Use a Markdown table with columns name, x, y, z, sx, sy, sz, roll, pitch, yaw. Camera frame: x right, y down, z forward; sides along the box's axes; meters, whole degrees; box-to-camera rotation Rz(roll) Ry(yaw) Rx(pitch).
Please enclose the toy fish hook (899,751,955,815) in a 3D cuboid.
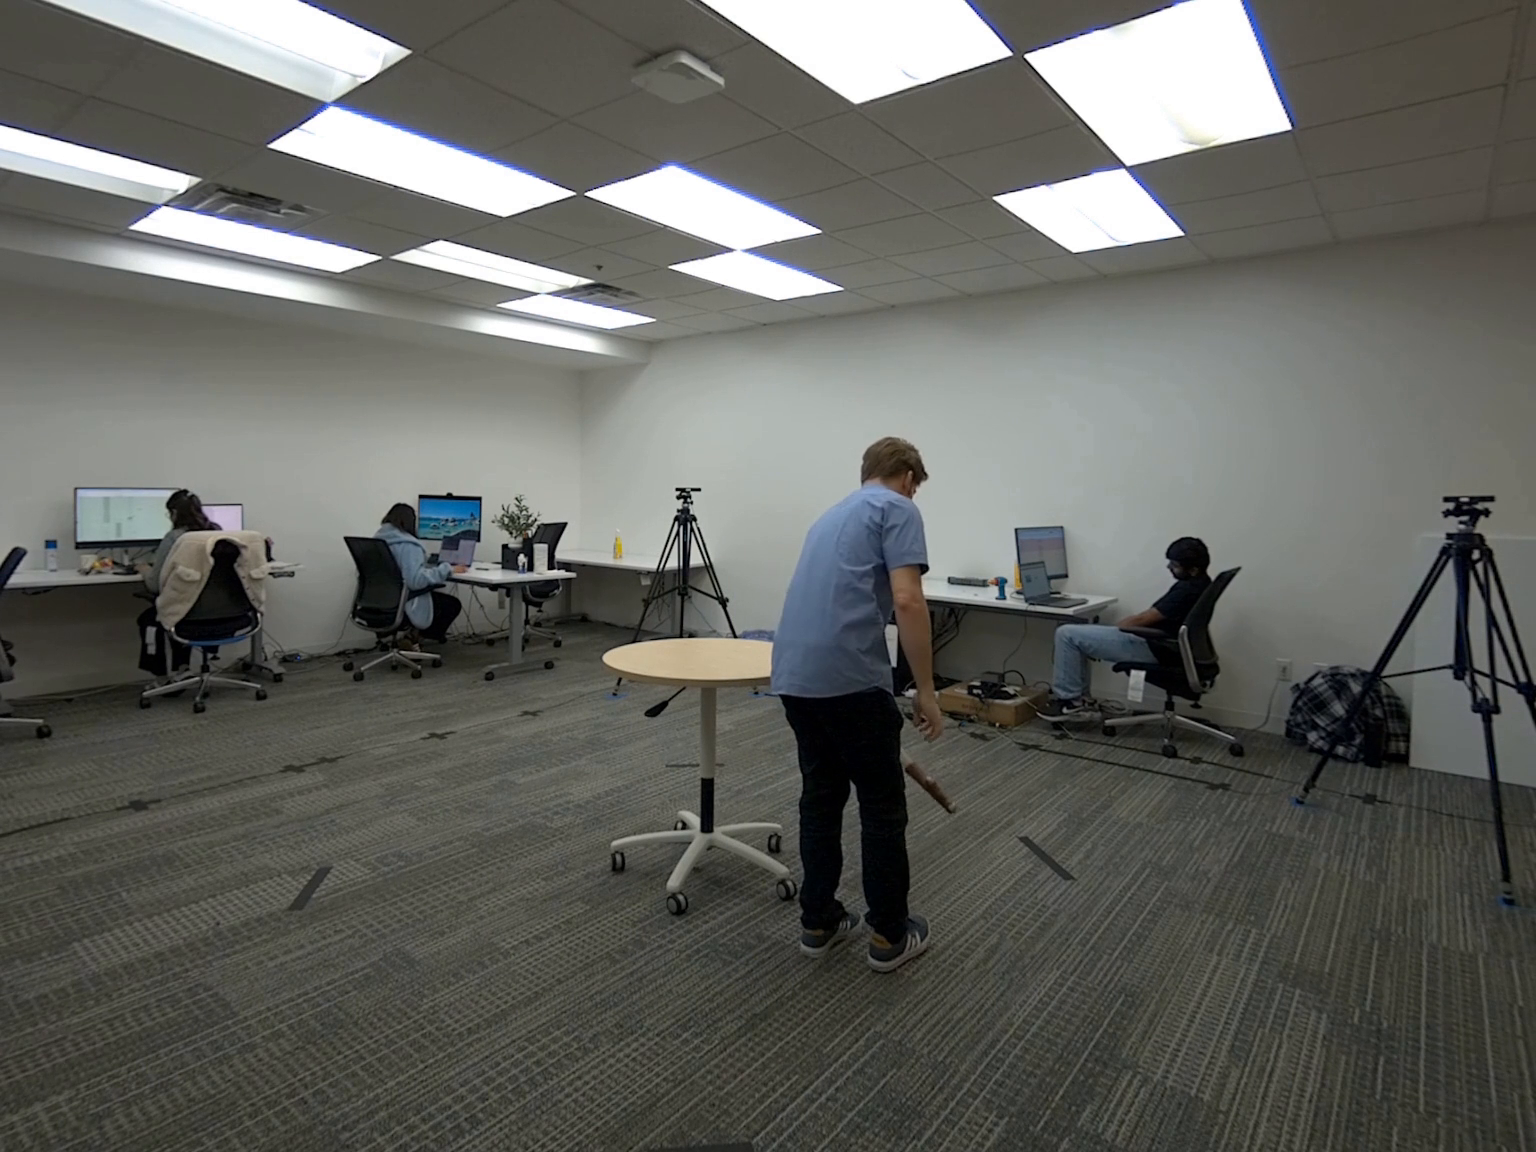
| name | x | y | z | sx | sy | sz | roll | pitch | yaw |
| --- | --- | --- | --- | --- | --- | --- | --- | --- | --- |
| toy fish hook | 0.451 | 0.617 | 2.914 | 0.528 | 0.048 | 0.216 | 43 | -14 | 35 |
